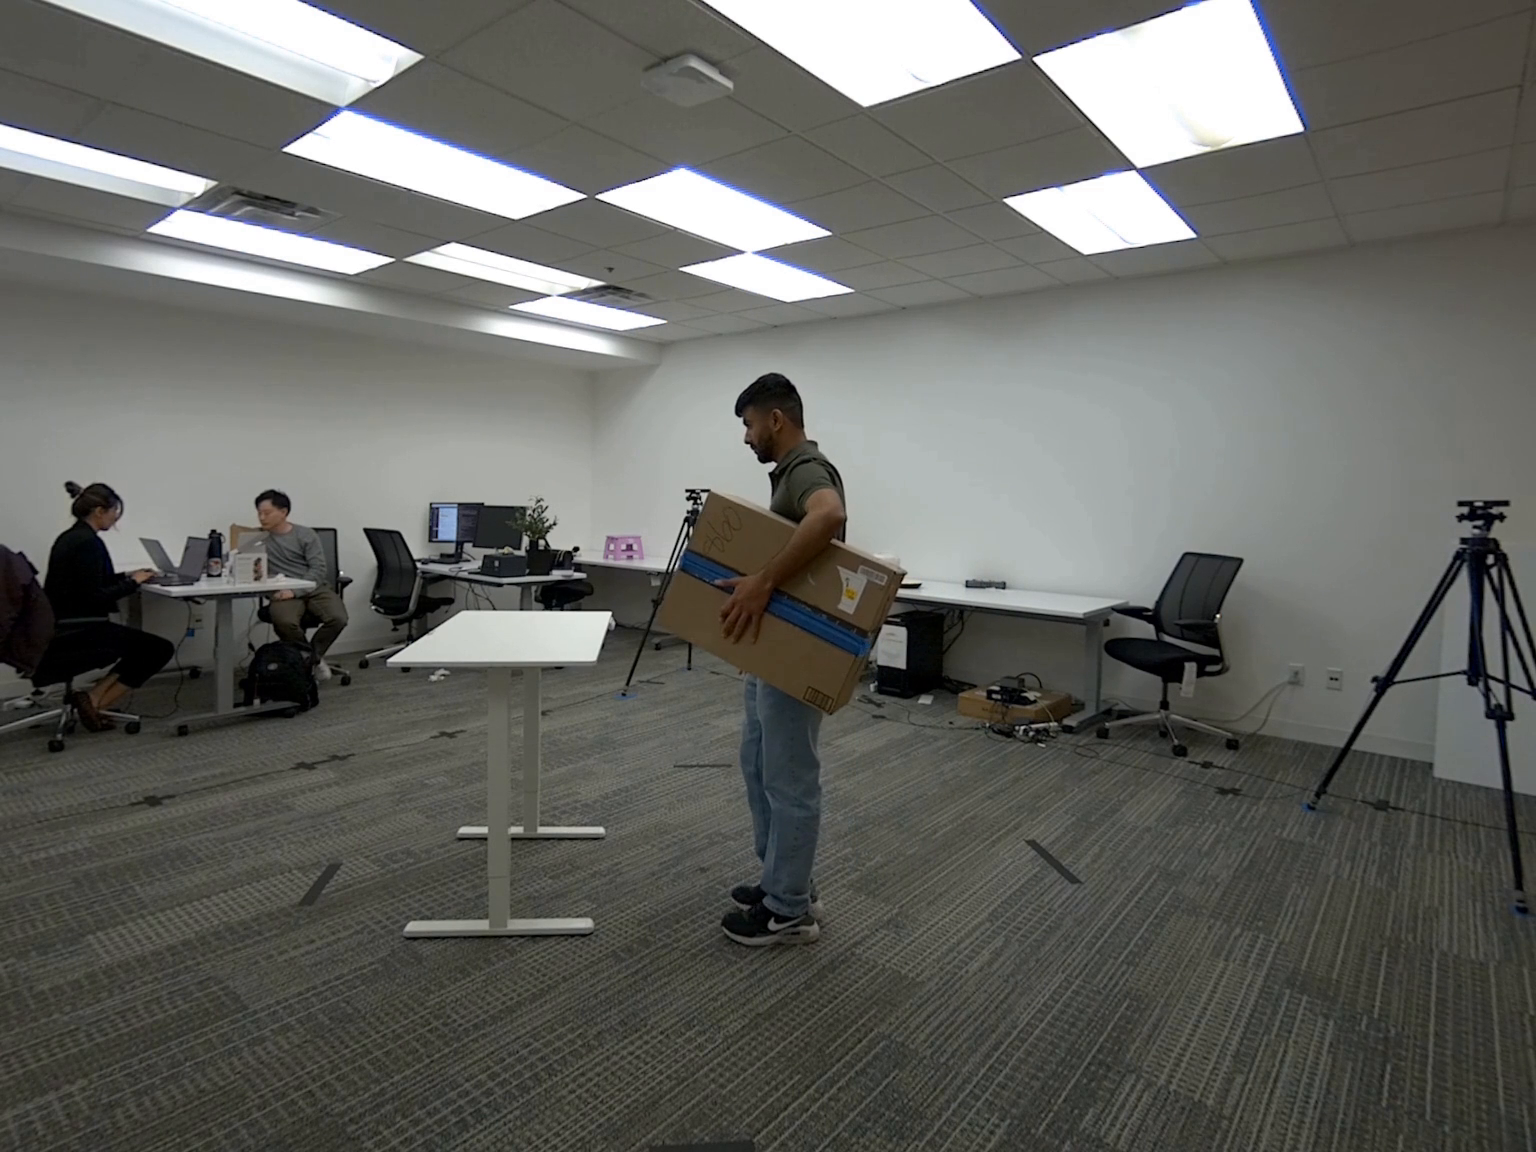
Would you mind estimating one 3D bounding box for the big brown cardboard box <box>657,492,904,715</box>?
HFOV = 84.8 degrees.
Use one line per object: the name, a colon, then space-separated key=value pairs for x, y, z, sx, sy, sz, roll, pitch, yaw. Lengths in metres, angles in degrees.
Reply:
big brown cardboard box: x=0.025 y=0.064 z=2.398 sx=0.604 sy=0.416 sz=0.228 roll=24 pitch=7 yaw=19
